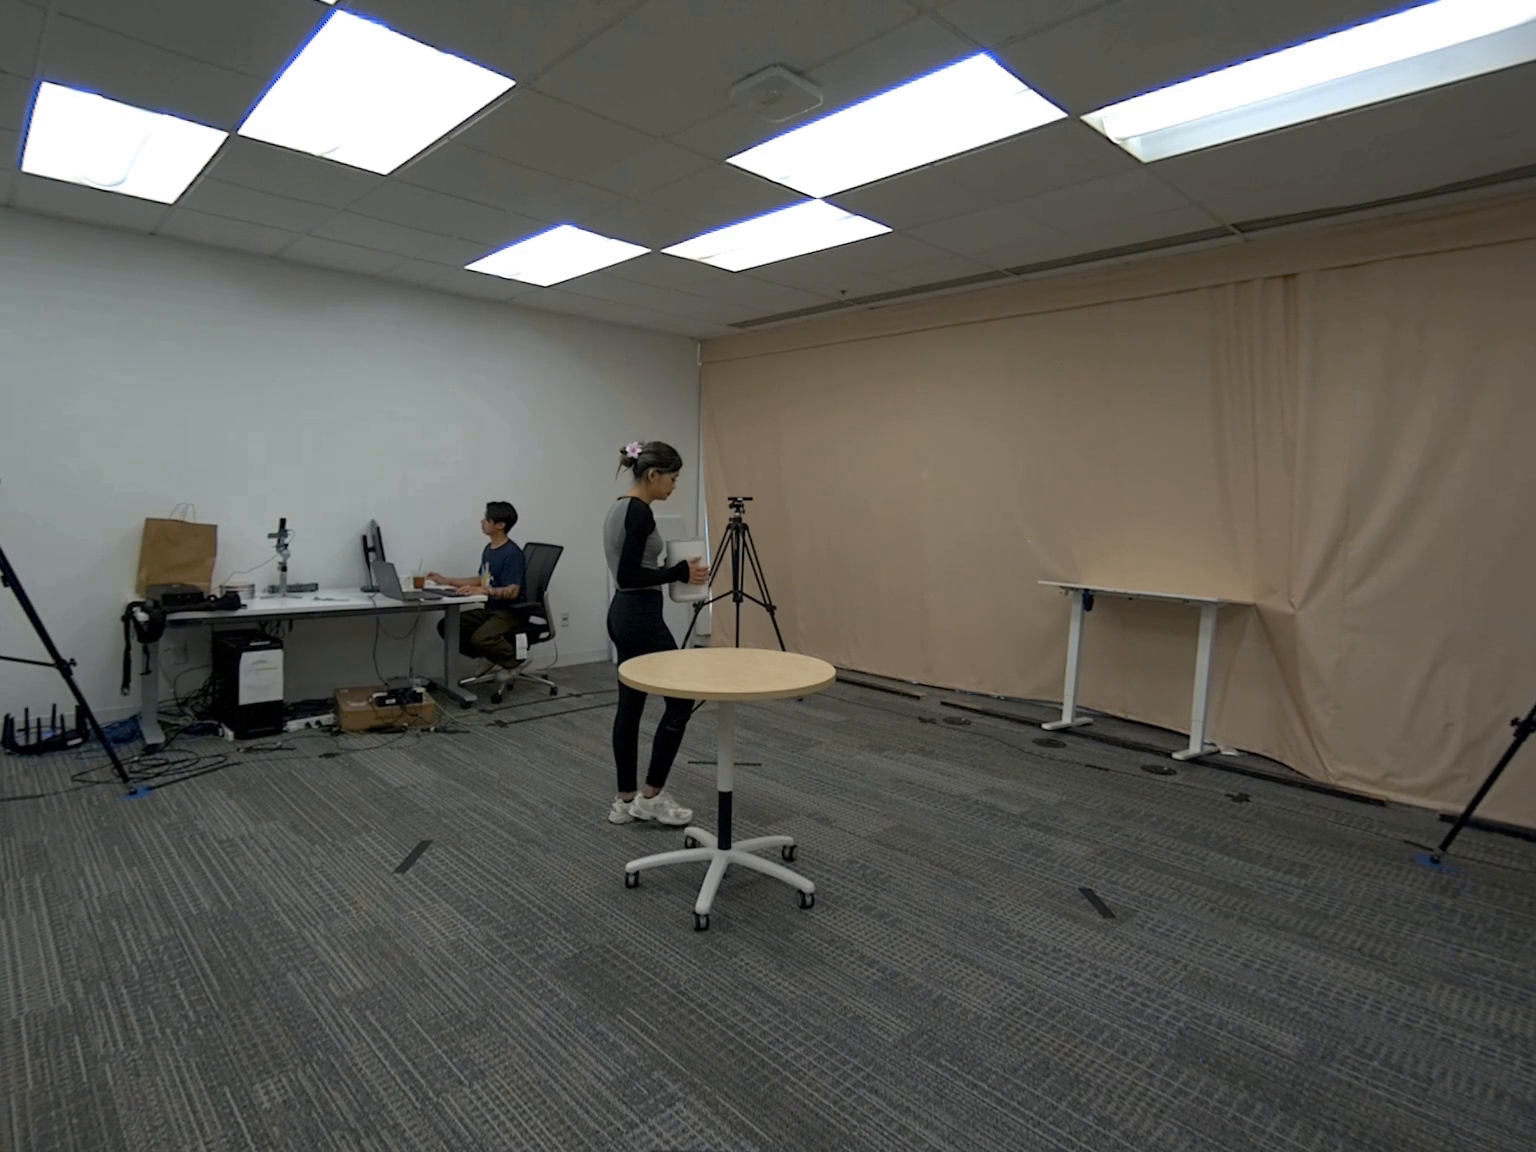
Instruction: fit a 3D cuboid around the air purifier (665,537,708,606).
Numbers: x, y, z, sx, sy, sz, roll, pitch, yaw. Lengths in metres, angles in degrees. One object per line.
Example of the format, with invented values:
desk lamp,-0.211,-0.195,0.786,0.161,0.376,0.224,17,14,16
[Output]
air purifier,-0.347,-0.024,3.607,0.171,0.264,0.172,-1,8,-3
